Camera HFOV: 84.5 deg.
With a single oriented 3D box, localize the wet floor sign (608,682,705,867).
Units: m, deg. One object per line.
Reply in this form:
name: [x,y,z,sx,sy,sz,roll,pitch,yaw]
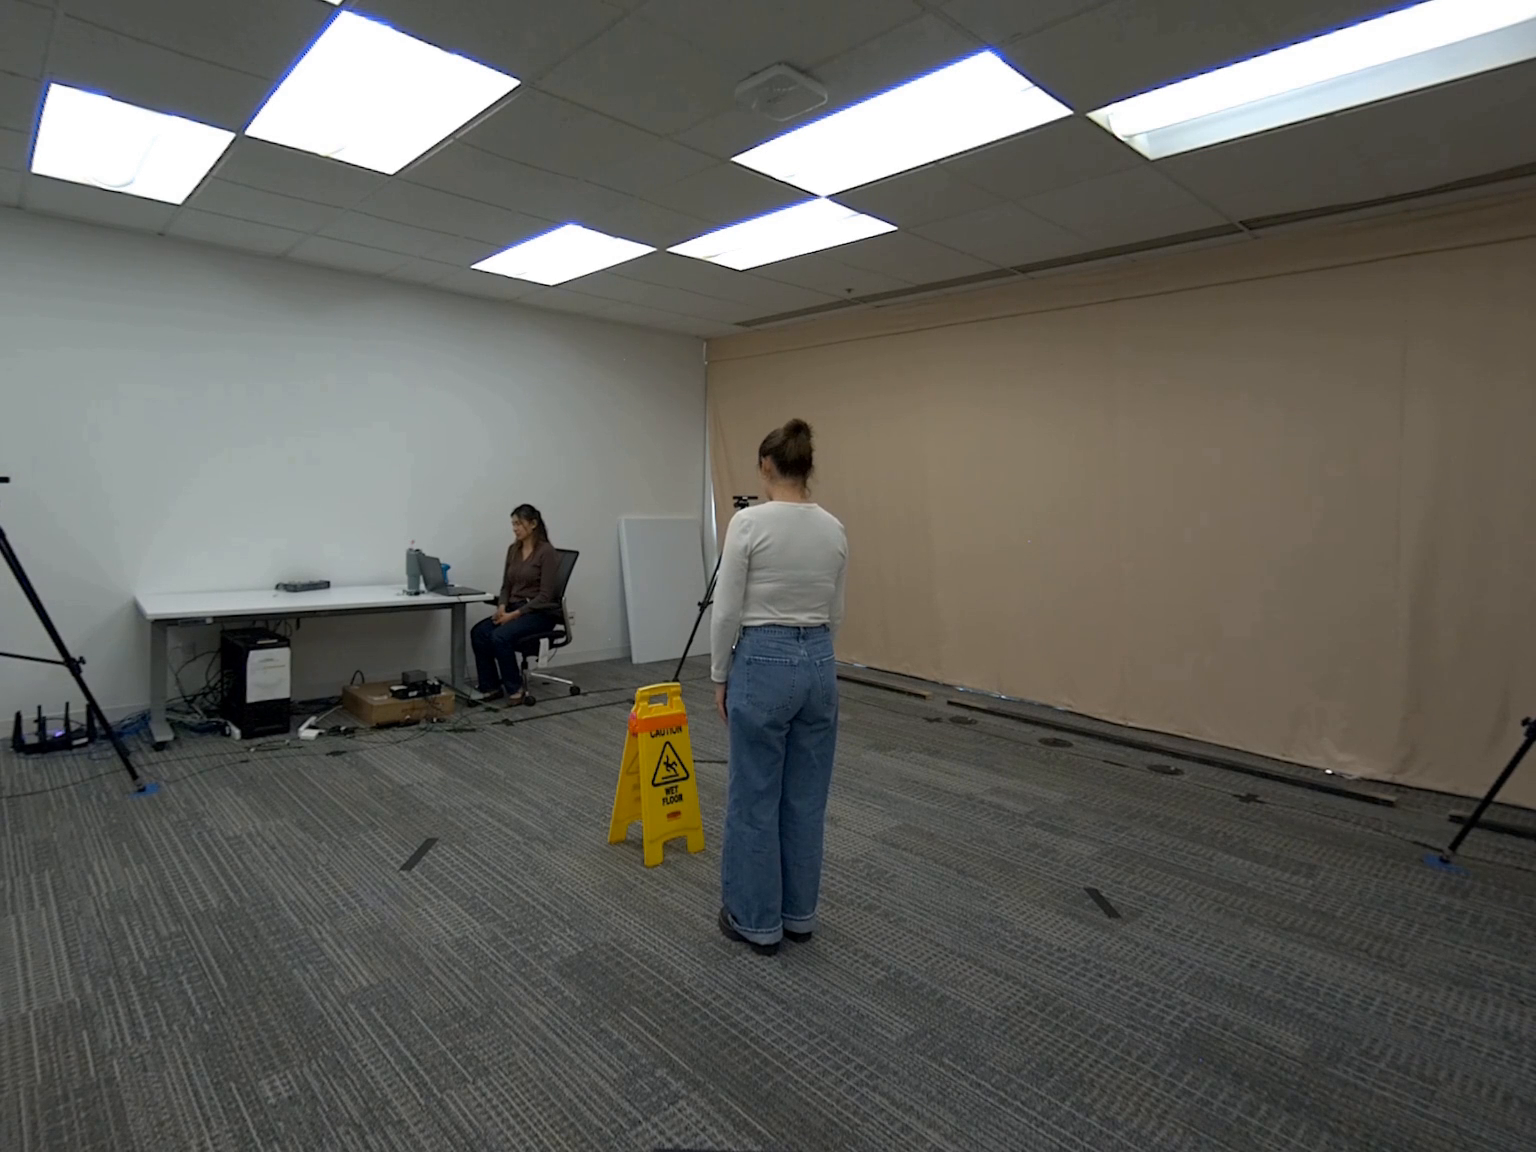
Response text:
wet floor sign: [-0.439,0.750,3.320,0.276,0.644,0.297,-2,5,-41]
